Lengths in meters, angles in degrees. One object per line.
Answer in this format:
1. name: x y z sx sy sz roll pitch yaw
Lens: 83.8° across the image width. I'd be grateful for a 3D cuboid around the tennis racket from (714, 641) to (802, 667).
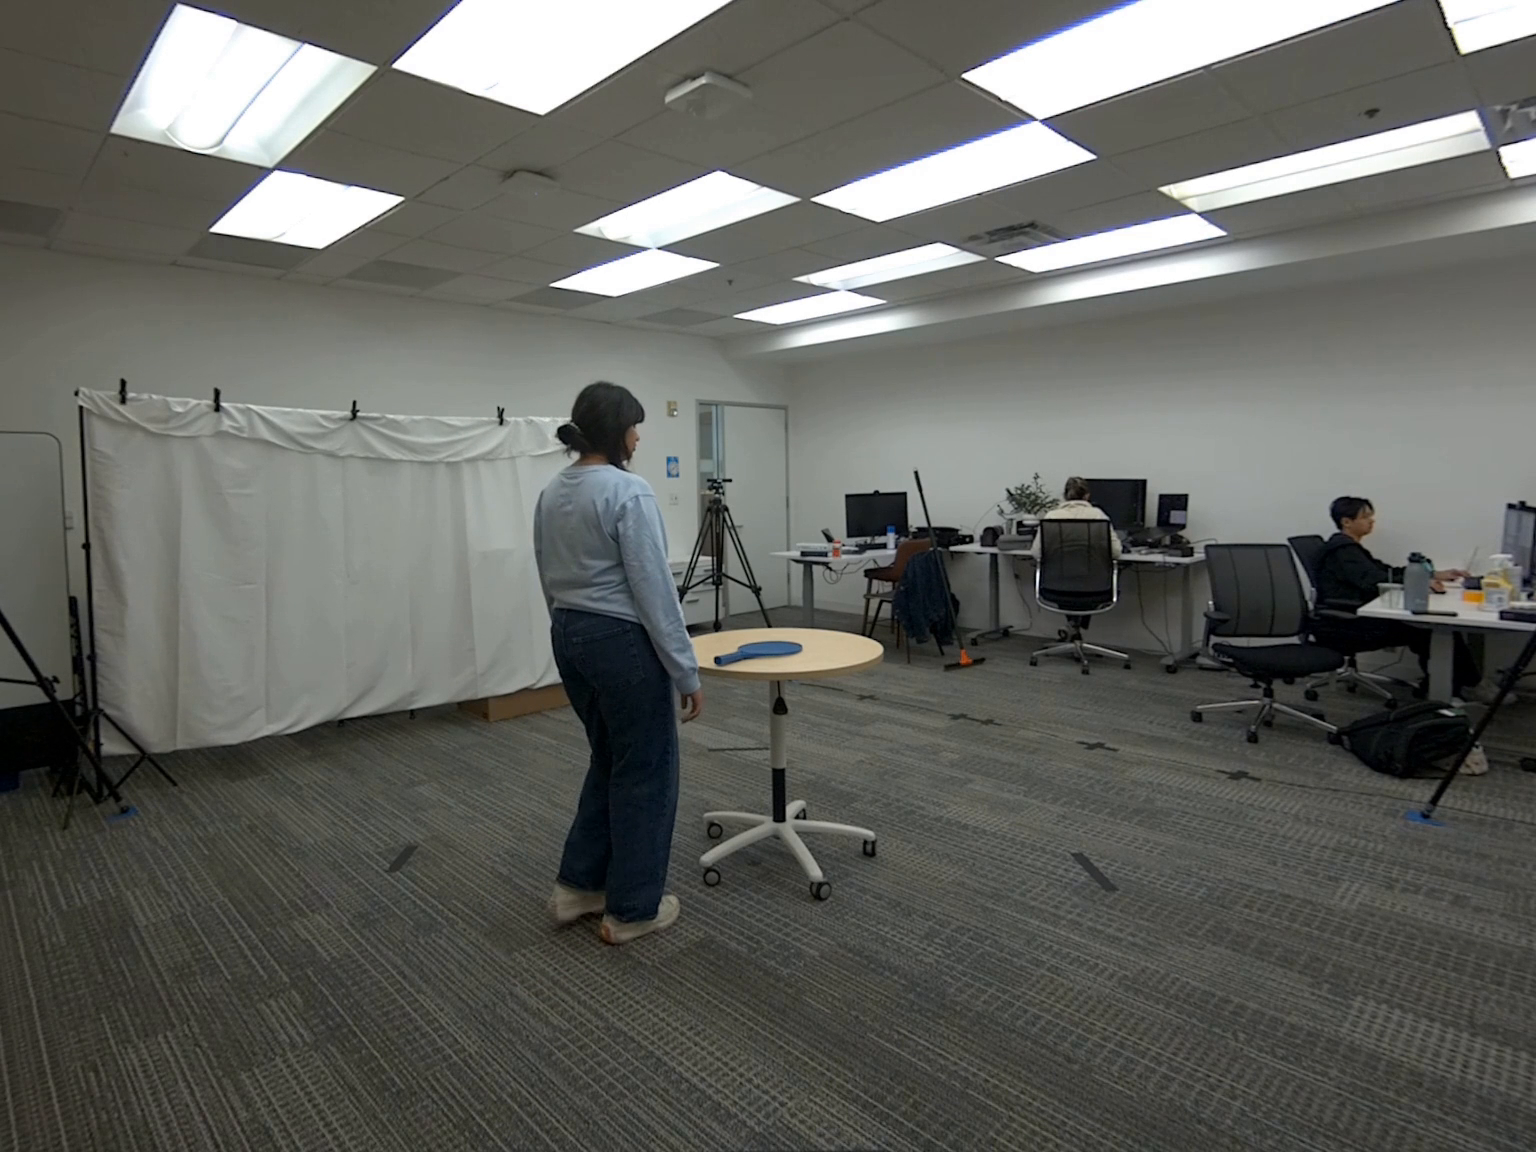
1. tennis racket: -0.034 0.270 2.985 0.220 0.031 0.422 4 7 37
